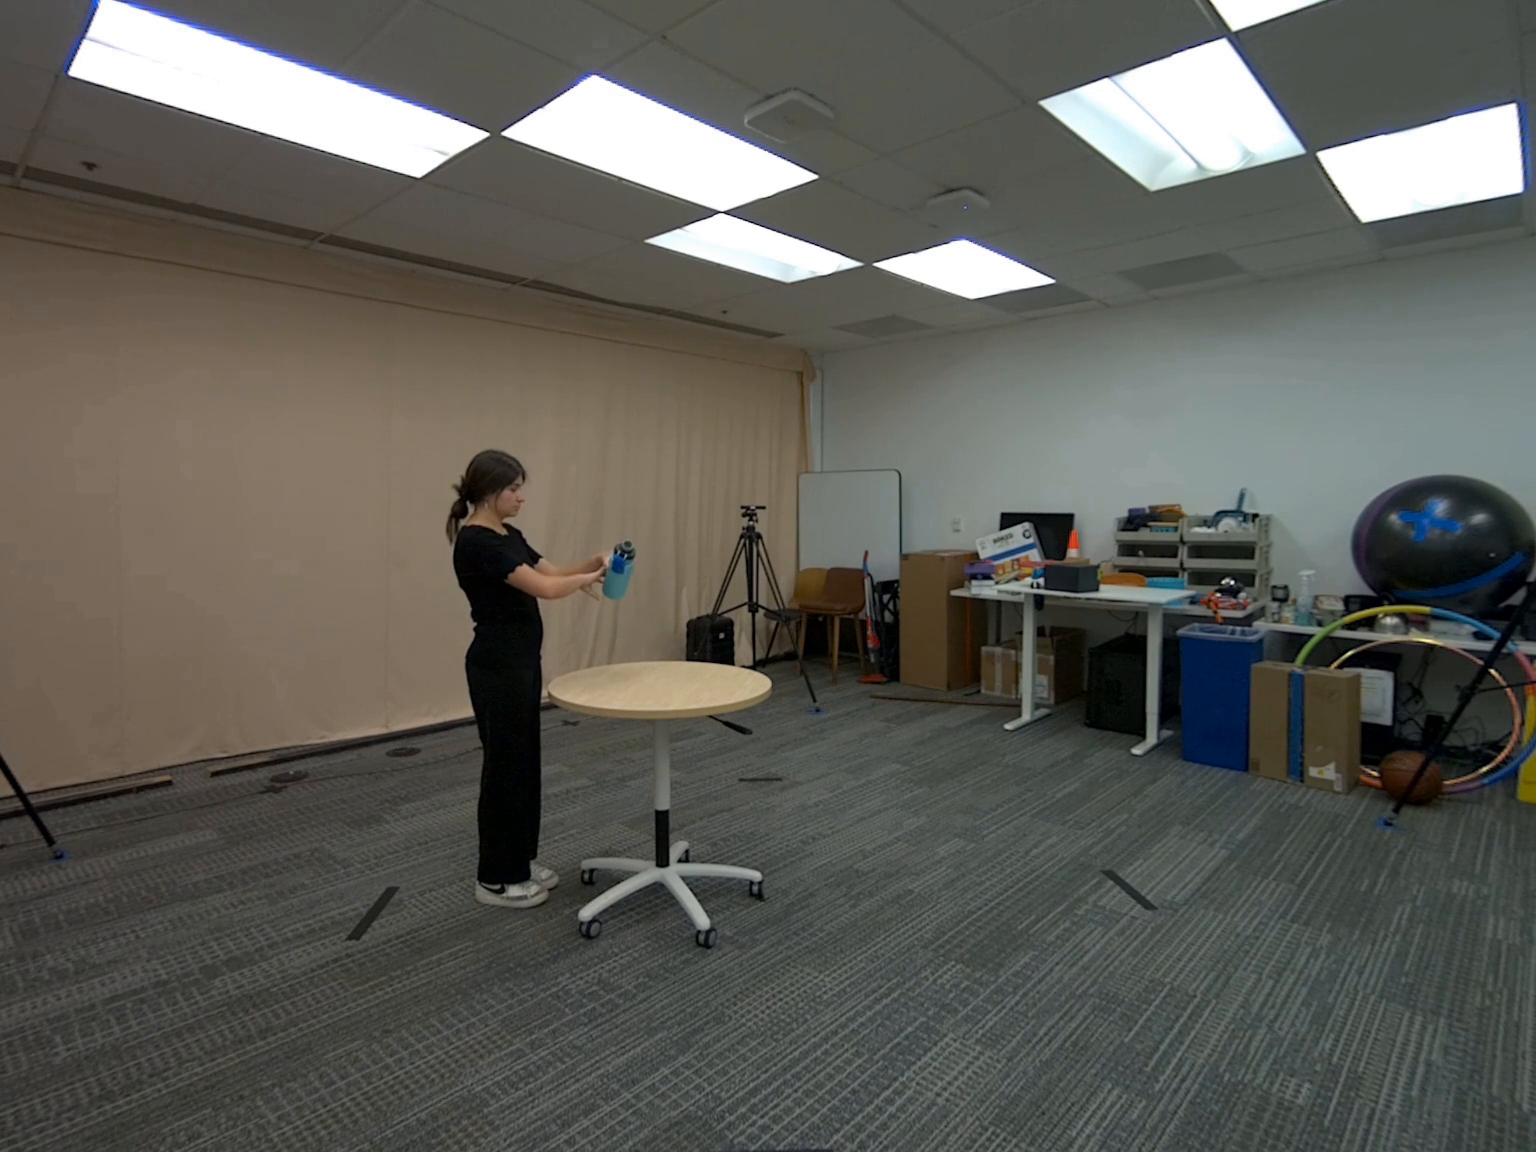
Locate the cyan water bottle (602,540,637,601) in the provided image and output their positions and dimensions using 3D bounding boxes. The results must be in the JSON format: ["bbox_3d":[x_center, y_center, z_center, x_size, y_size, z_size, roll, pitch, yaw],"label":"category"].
[{"bbox_3d":[-0.547,-0.020,3.075,0.090,0.094,0.283,-1,-32,-23],"label":"cyan water bottle"}]
